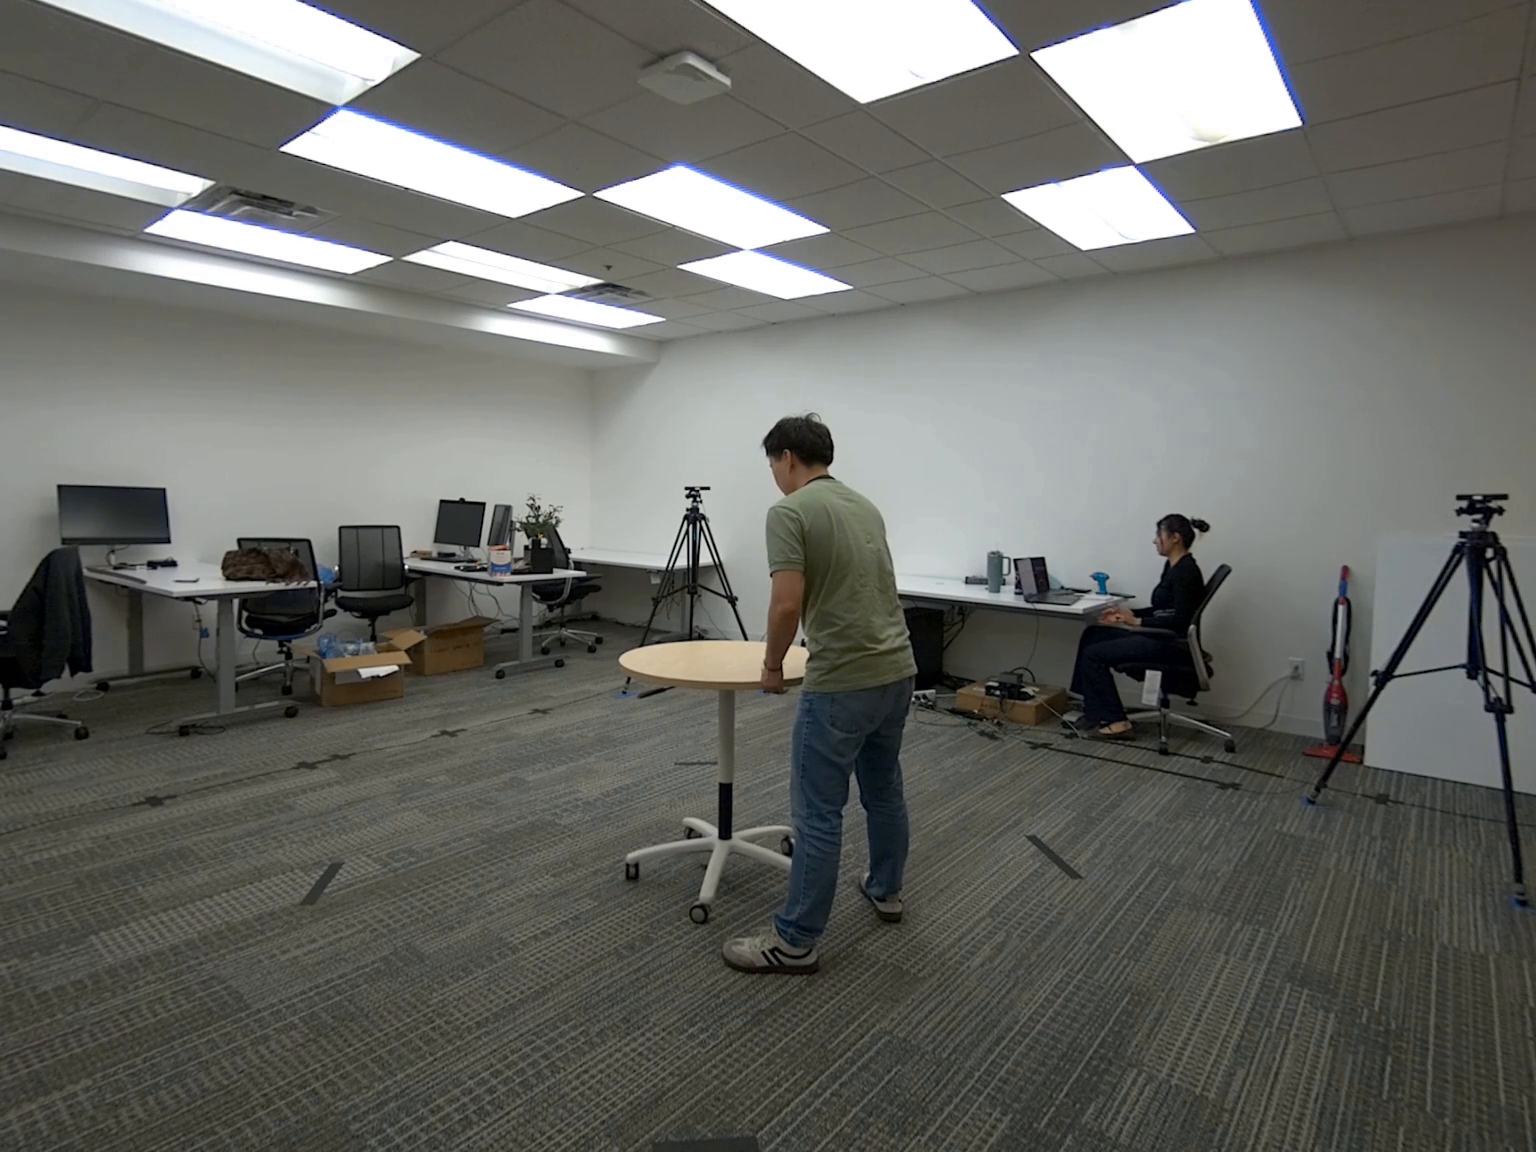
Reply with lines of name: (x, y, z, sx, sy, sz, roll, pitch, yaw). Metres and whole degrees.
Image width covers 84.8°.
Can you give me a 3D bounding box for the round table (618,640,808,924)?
round table: (-0.166, 0.683, 3.029, 0.763, 0.792, 0.767, 1, 4, -2)
